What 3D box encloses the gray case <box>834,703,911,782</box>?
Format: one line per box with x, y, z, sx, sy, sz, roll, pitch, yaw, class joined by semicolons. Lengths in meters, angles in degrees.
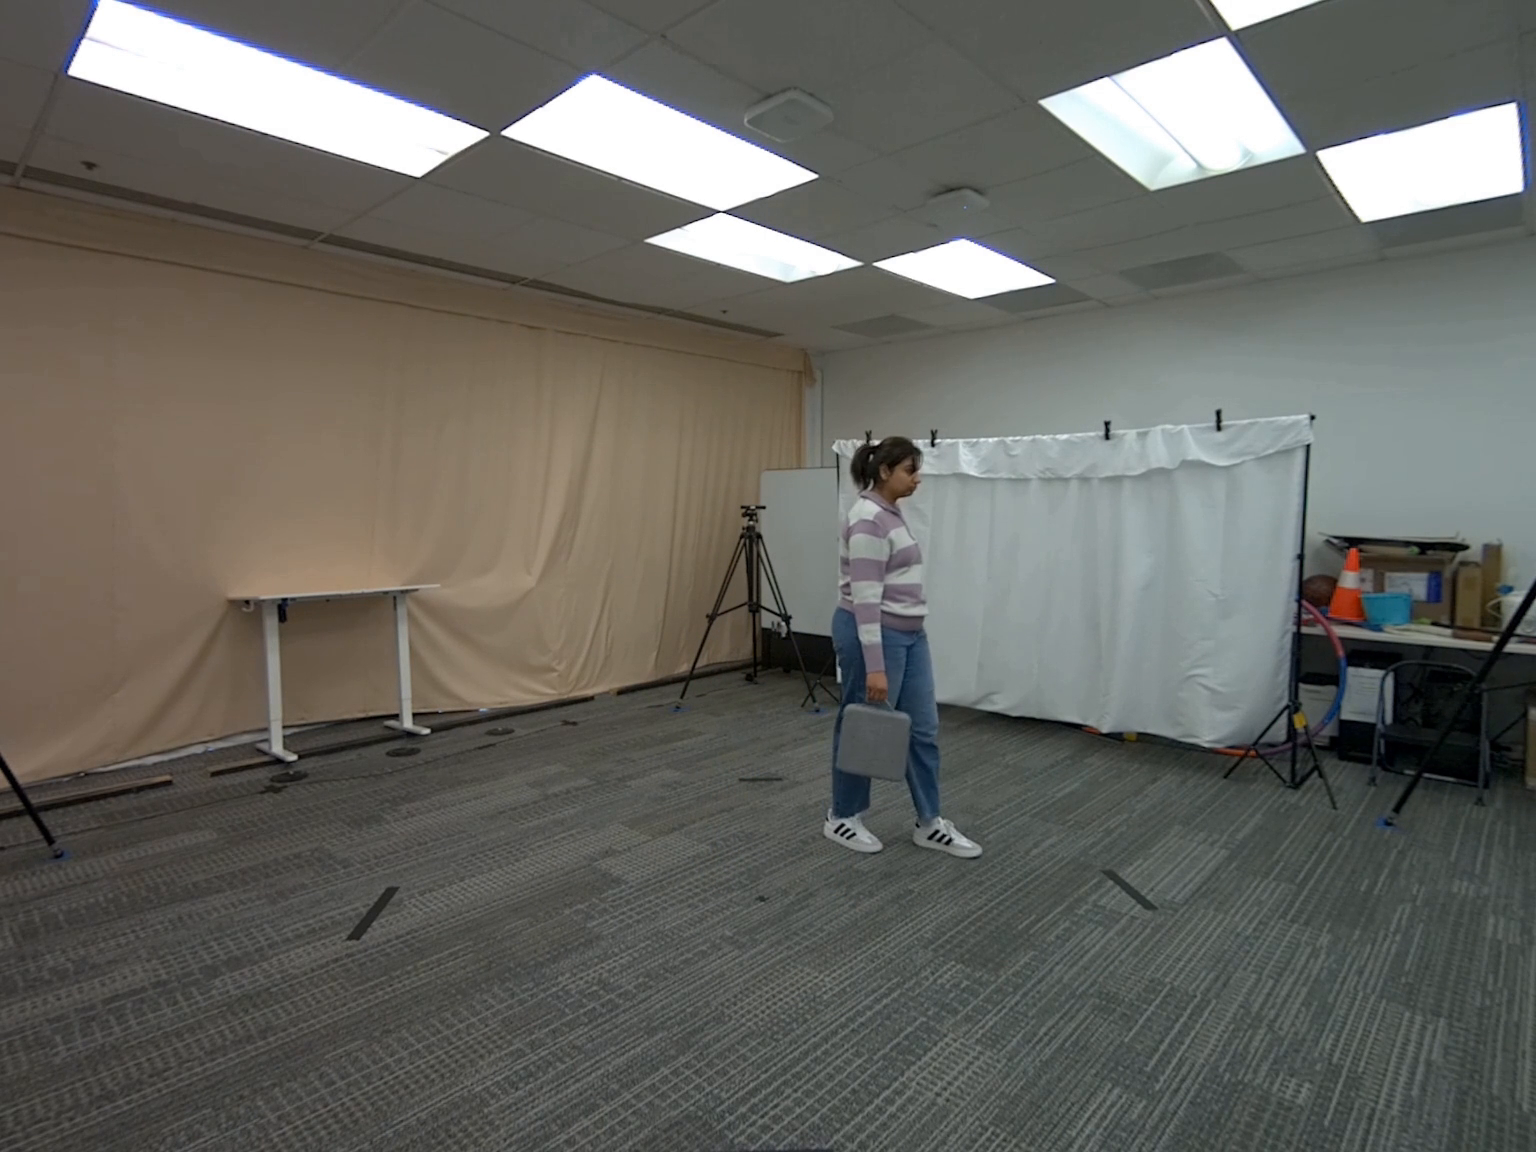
0.406;0.611;3.148;0.262;0.261;0.102;7;-1;16;gray case
